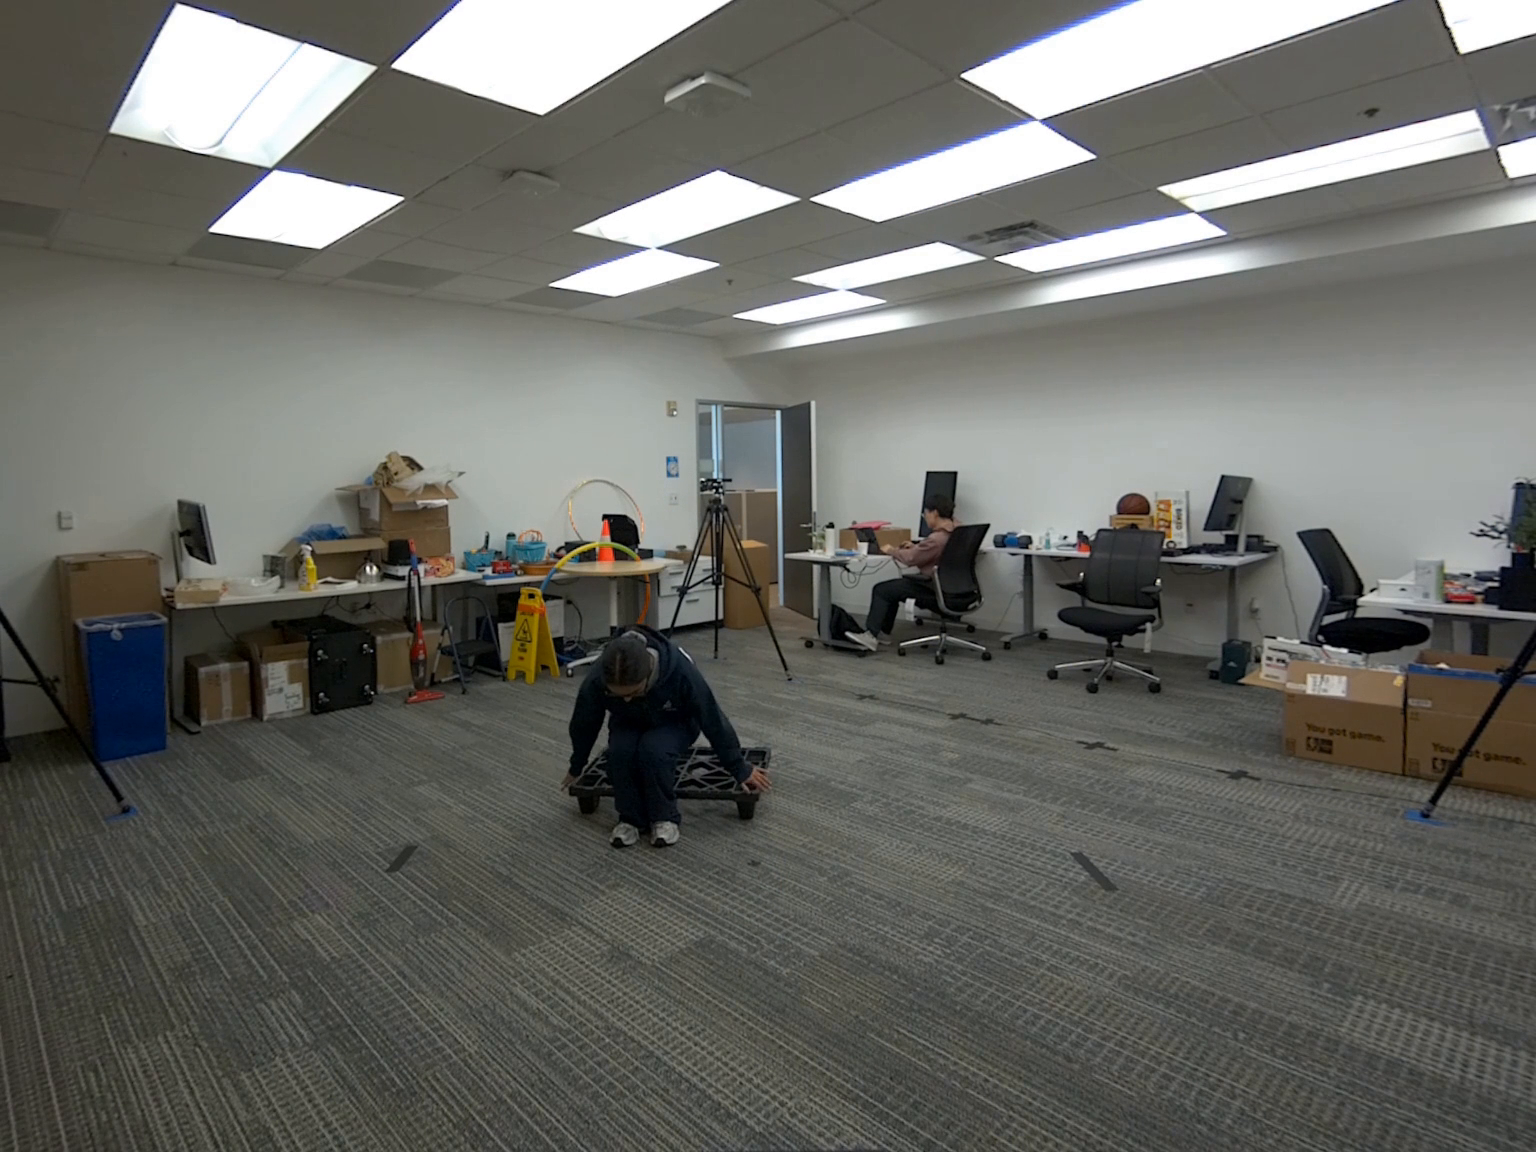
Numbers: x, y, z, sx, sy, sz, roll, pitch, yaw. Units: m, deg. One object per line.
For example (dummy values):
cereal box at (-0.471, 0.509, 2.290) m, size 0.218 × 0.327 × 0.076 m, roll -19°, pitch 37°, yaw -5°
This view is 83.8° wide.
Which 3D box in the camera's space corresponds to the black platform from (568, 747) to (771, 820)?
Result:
black platform at (-0.404, 0.905, 3.787) m, size 0.812 × 0.143 × 0.602 m, roll 0°, pitch 5°, yaw 7°
